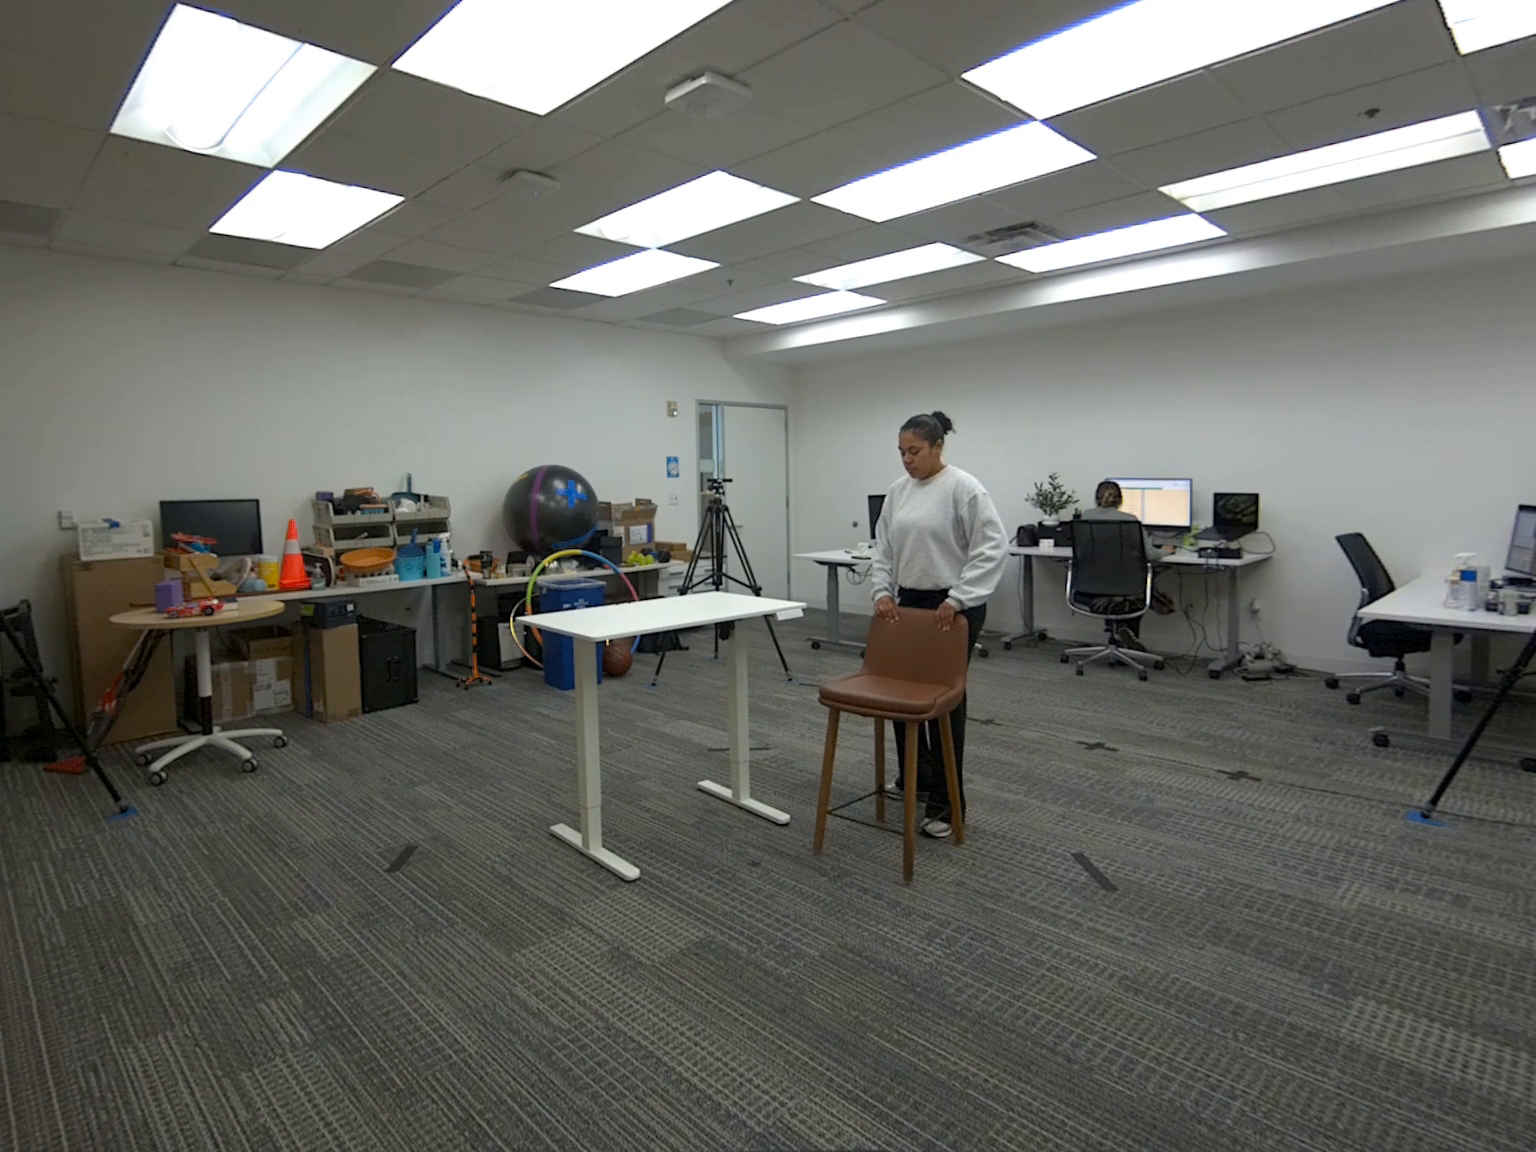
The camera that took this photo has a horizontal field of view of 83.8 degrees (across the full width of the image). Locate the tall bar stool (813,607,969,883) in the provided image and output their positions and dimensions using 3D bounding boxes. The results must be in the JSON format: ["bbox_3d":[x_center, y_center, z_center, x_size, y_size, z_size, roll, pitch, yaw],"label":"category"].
[{"bbox_3d":[0.469,0.578,3.198,0.470,0.890,0.453,3,0,40],"label":"tall bar stool"}]
